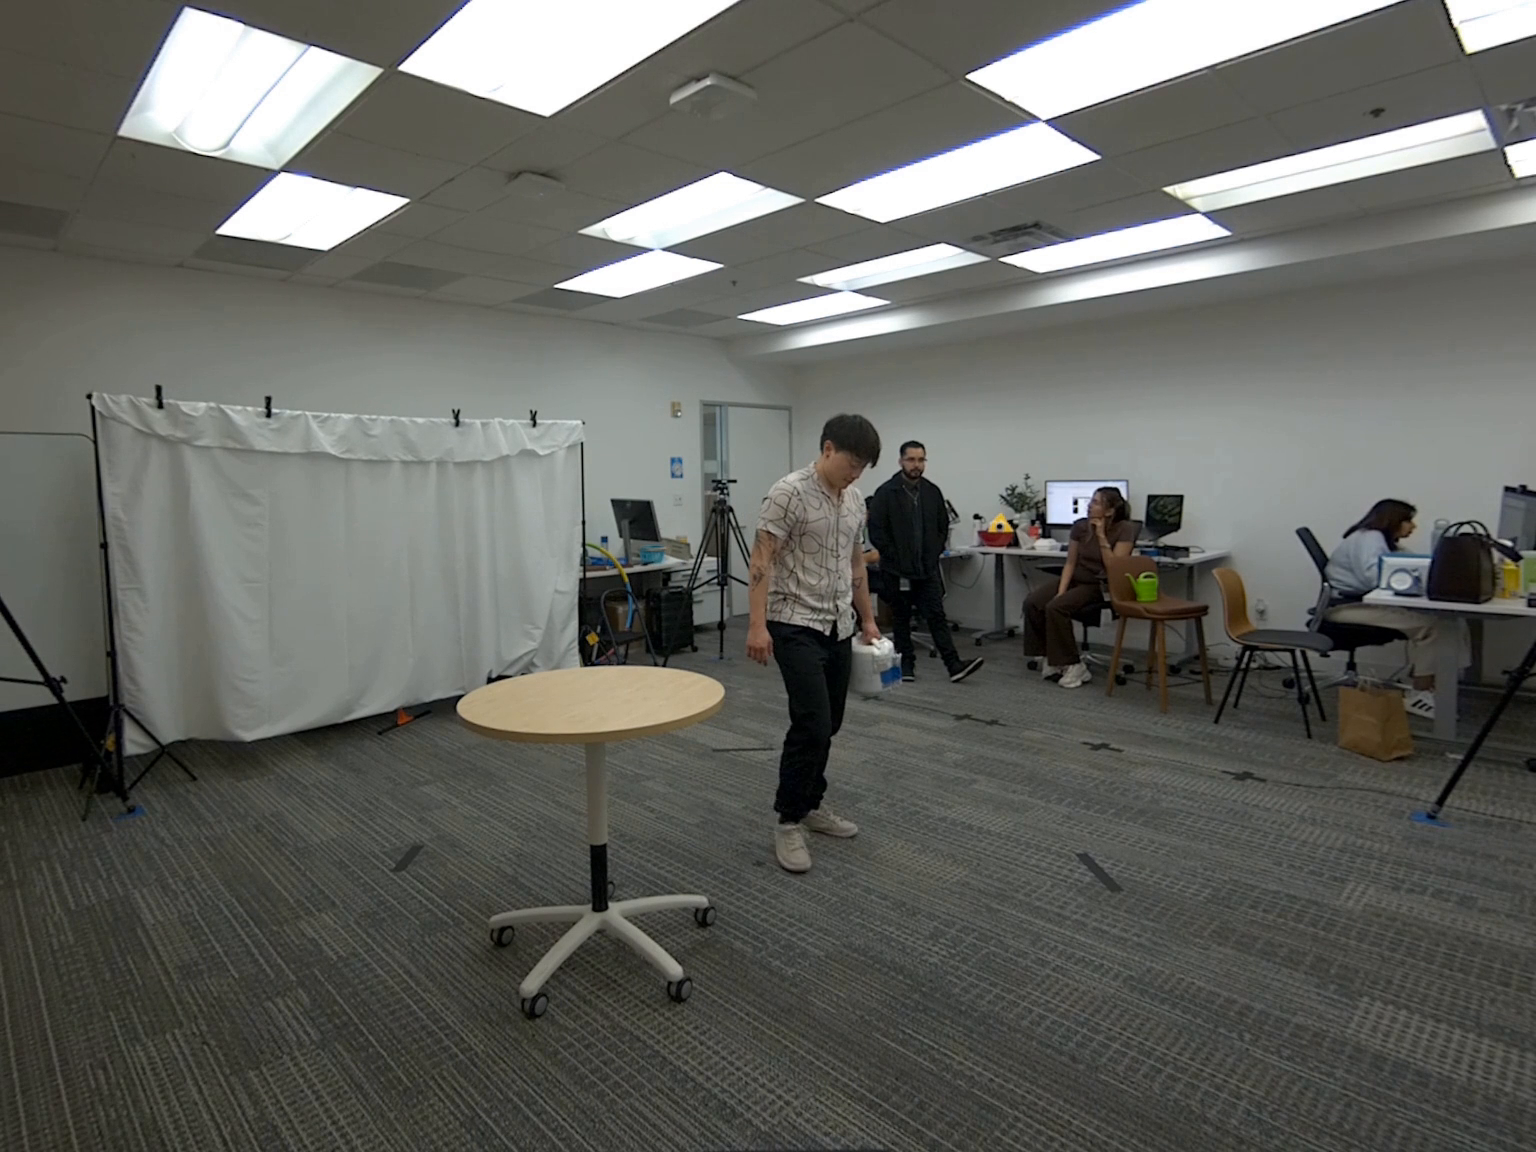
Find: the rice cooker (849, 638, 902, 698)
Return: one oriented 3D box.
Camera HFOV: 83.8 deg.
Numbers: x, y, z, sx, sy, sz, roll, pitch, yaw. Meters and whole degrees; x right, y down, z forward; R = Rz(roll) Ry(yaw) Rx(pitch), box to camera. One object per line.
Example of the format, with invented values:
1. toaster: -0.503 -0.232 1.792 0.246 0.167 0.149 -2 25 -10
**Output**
1. rice cooker: 0.405 0.347 3.472 0.214 0.231 0.226 -7 10 -20
